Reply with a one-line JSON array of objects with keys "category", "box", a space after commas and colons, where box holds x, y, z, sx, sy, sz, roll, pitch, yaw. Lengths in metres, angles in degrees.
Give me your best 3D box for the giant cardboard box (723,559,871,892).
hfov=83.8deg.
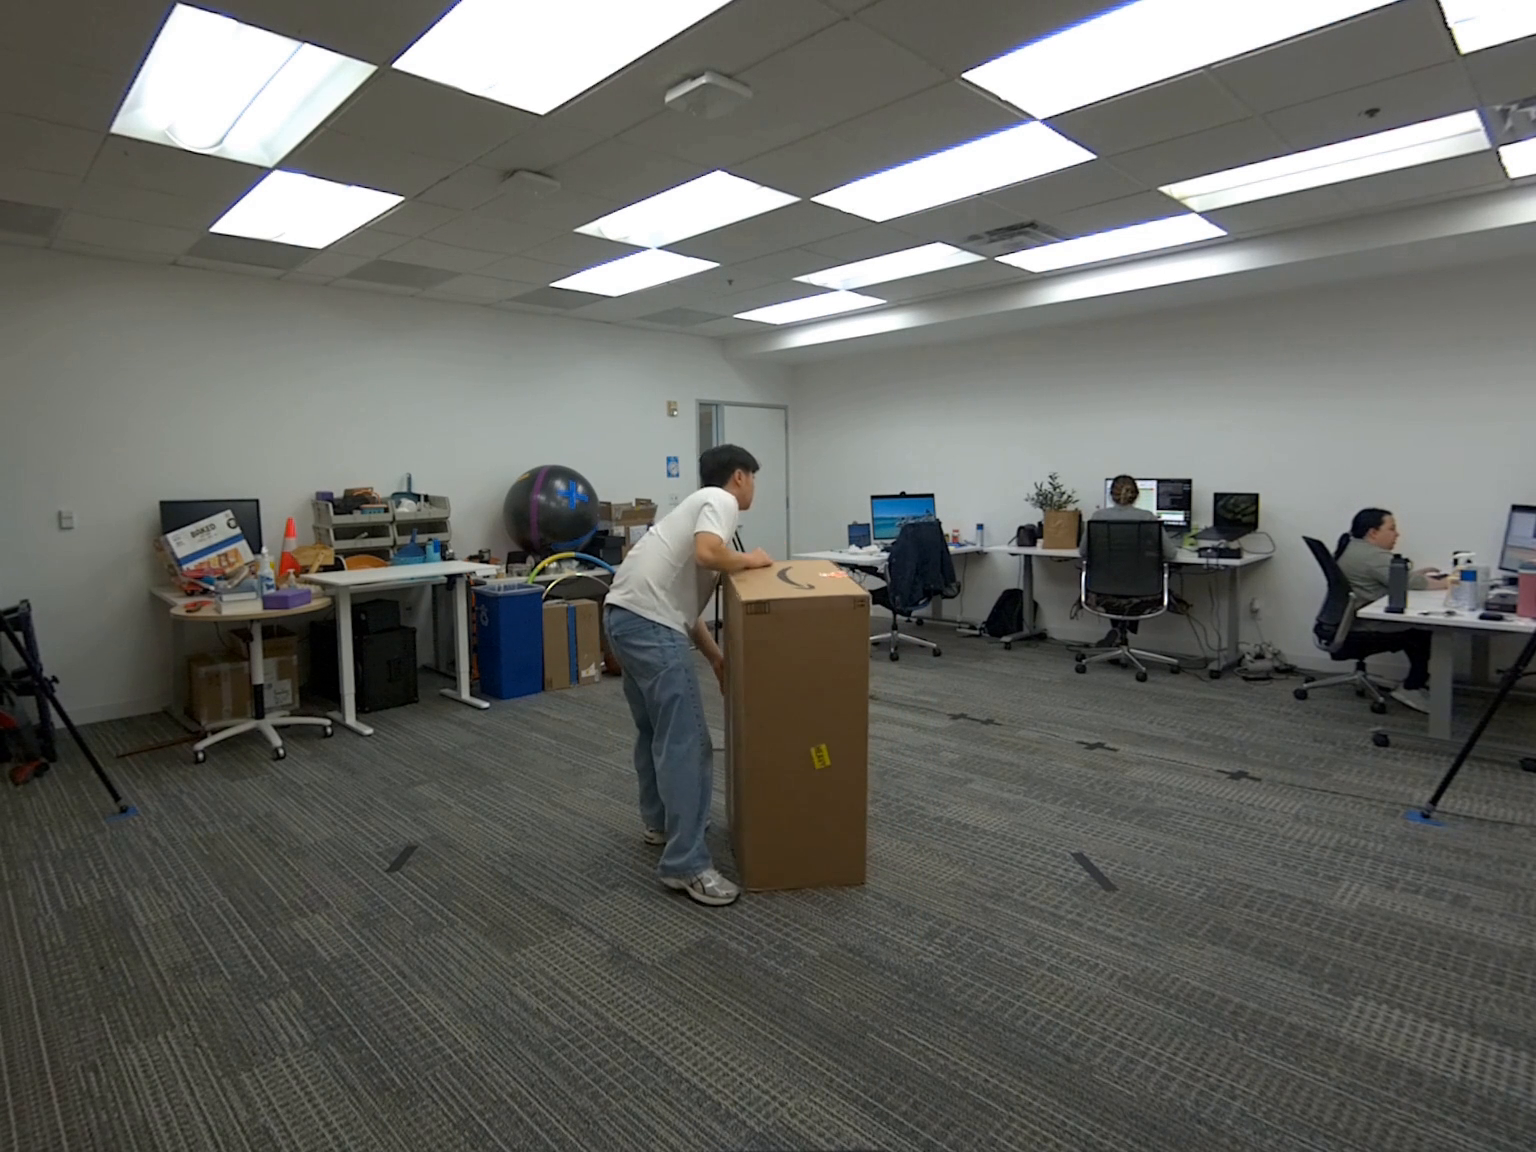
[{"category": "giant cardboard box", "box": [0.083, 0.502, 3.090, 0.424, 1.016, 0.586, -2, 11, -7]}]
